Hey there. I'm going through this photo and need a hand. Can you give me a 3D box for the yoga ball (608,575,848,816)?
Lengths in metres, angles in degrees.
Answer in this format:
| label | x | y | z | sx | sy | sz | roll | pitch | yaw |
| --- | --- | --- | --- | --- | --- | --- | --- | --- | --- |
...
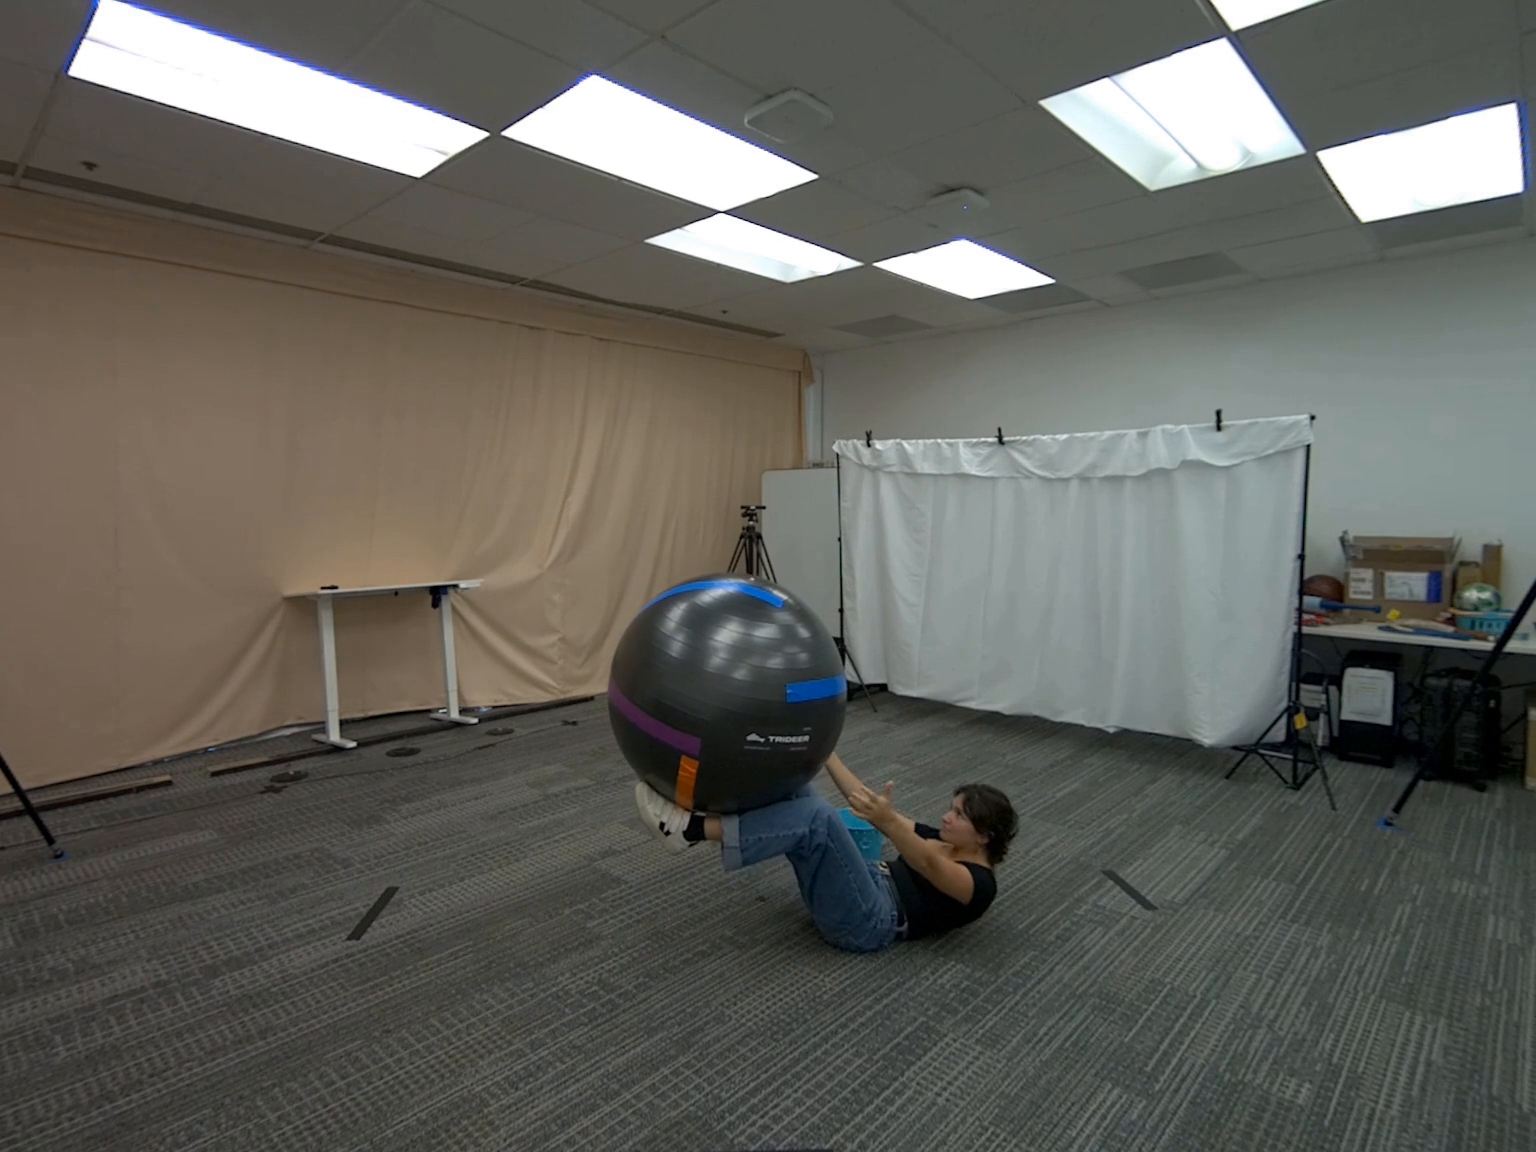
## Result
| label | x | y | z | sx | sy | sz | roll | pitch | yaw |
| --- | --- | --- | --- | --- | --- | --- | --- | --- | --- |
| yoga ball | -0.123 | 0.374 | 2.677 | 0.757 | 0.756 | 0.761 | 0 | 4 | -2 |
